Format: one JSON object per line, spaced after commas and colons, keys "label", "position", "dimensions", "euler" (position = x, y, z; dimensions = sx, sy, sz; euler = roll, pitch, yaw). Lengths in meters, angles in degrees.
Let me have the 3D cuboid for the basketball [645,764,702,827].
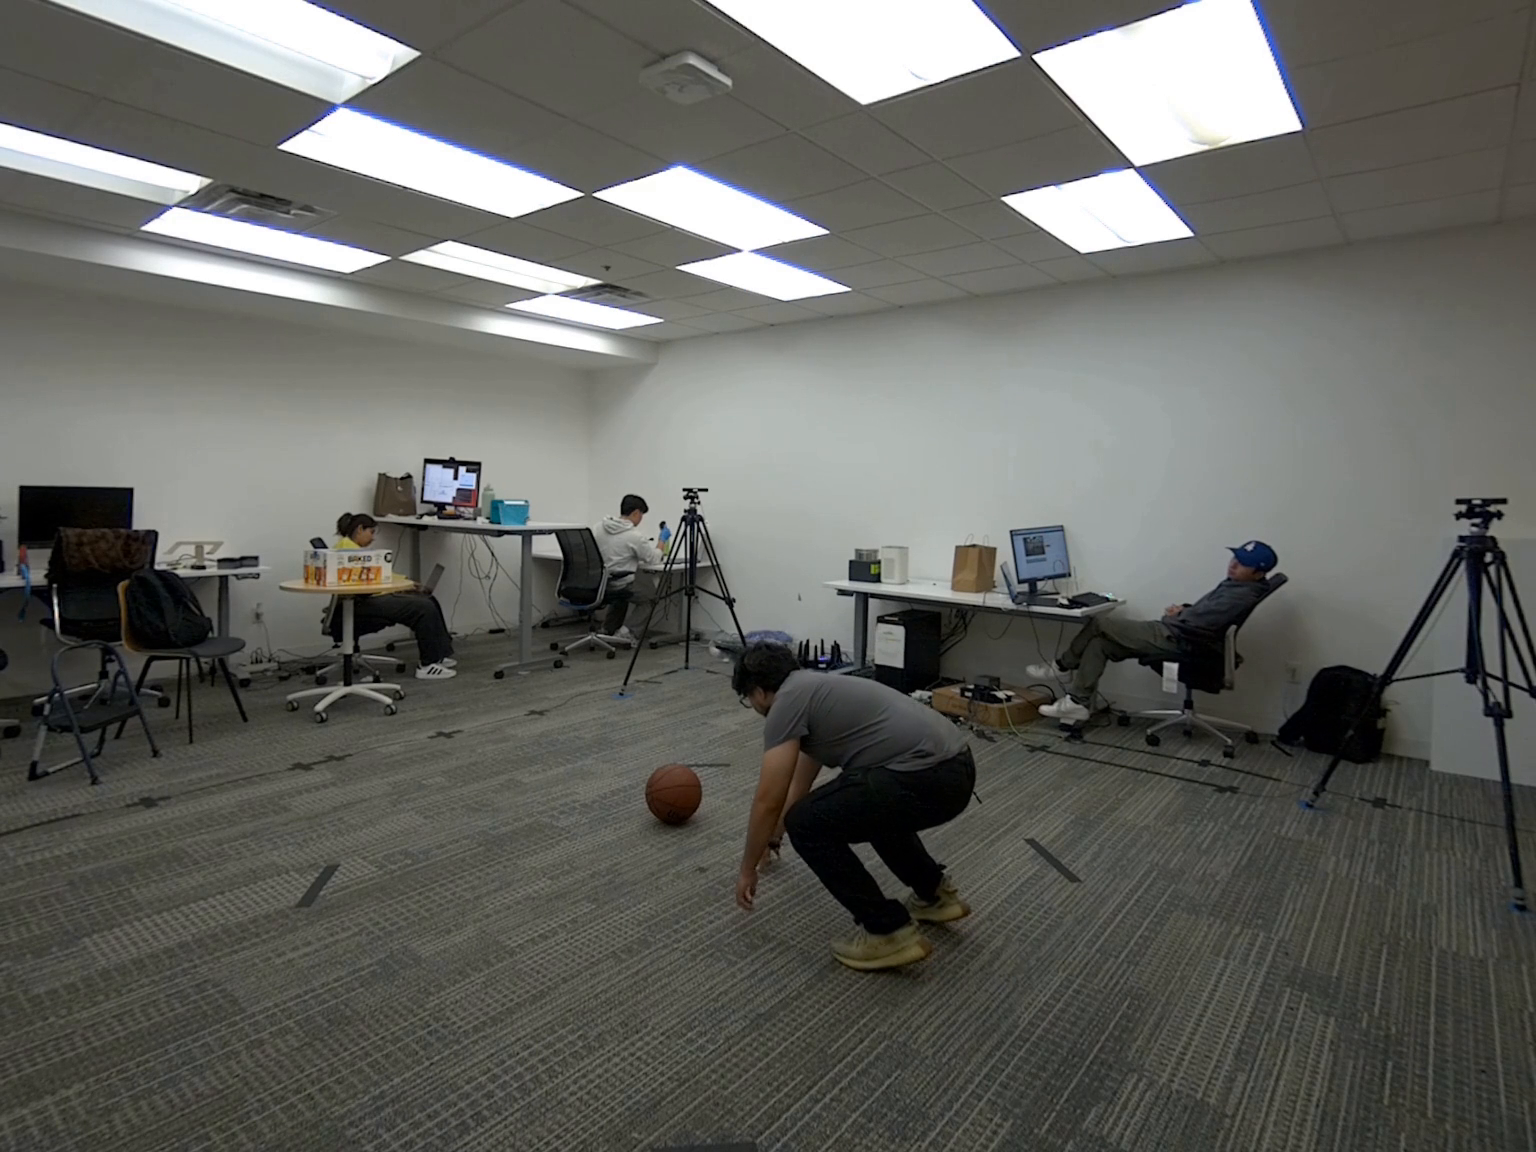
{"label": "basketball", "position": [-0.407, 0.903, 3.557], "dimensions": [0.235, 0.235, 0.237], "euler": [1, 4, -2]}
